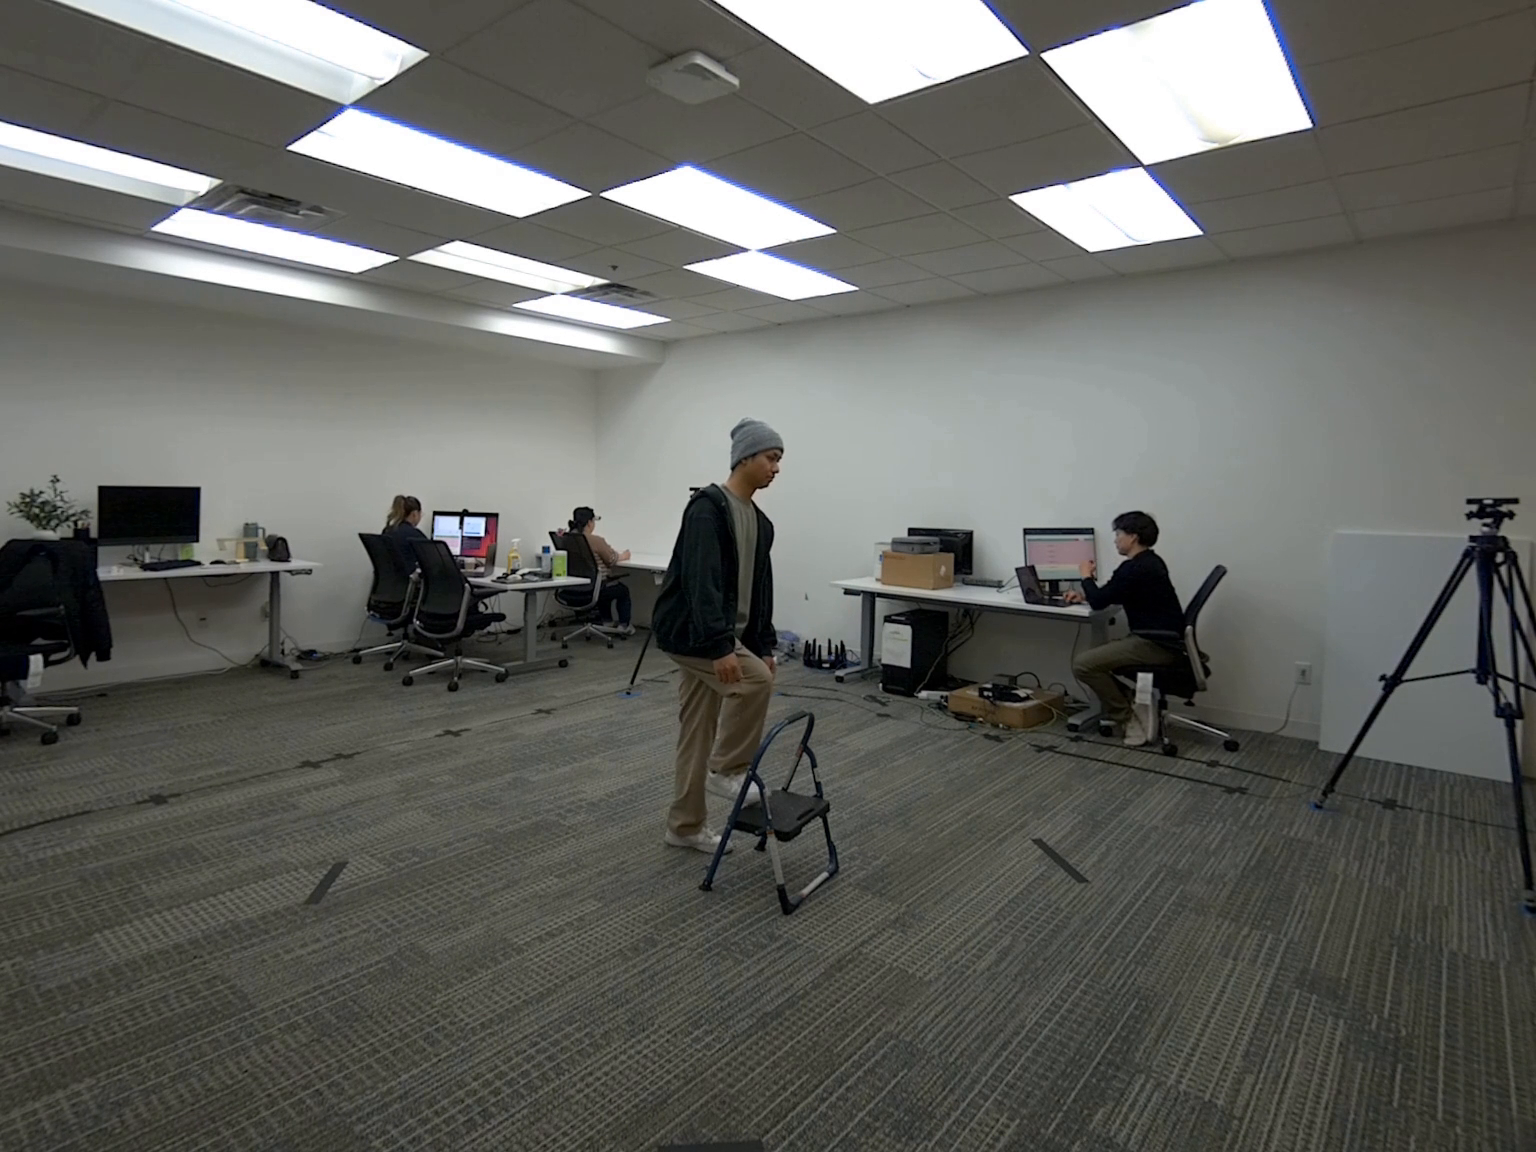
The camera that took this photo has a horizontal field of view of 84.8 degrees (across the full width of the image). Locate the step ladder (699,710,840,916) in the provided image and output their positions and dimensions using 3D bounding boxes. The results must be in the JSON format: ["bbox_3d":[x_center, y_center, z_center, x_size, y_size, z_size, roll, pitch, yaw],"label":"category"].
[{"bbox_3d":[0.017,0.777,3.017,0.359,0.604,0.420,3,4,29],"label":"step ladder"}]
